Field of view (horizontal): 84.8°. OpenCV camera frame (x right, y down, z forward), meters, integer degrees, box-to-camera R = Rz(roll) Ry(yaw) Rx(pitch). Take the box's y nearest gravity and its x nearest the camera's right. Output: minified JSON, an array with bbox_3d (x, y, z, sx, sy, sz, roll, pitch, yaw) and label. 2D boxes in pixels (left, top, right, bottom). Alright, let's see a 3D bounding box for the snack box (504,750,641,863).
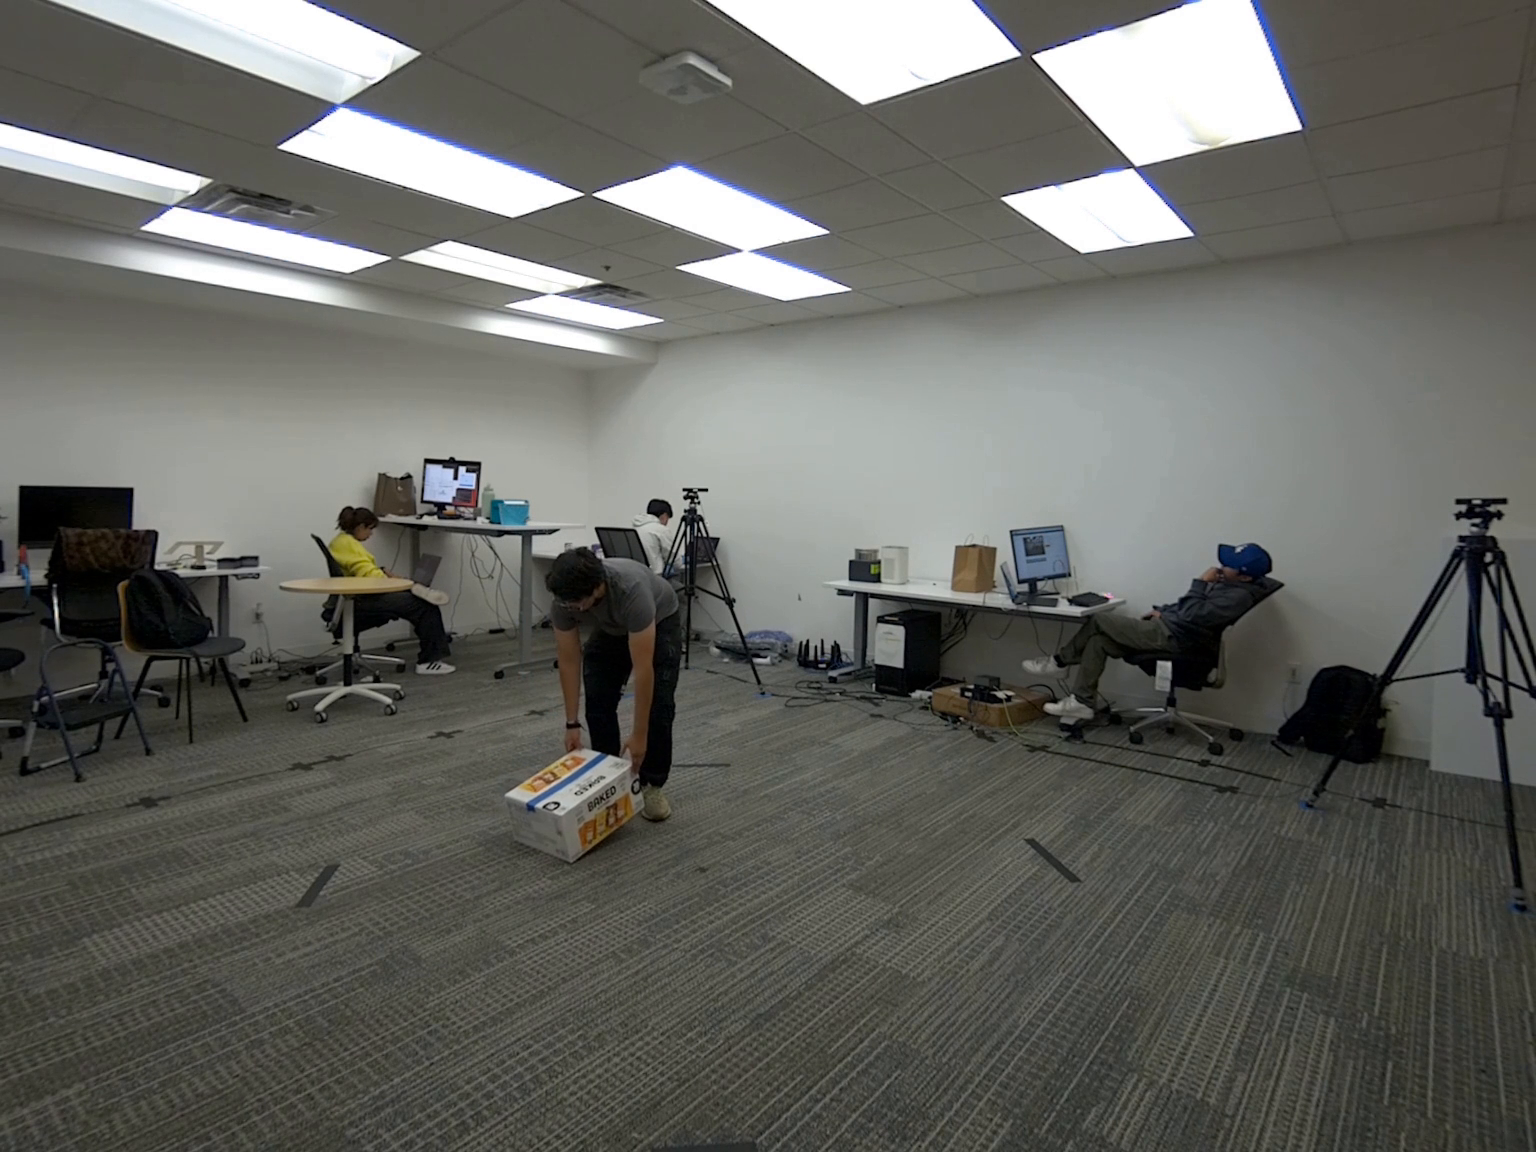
[{"bbox_3d":[-0.770,0.890,3.350,0.351,0.202,0.399,2,20,37],"label":"snack box"}]
